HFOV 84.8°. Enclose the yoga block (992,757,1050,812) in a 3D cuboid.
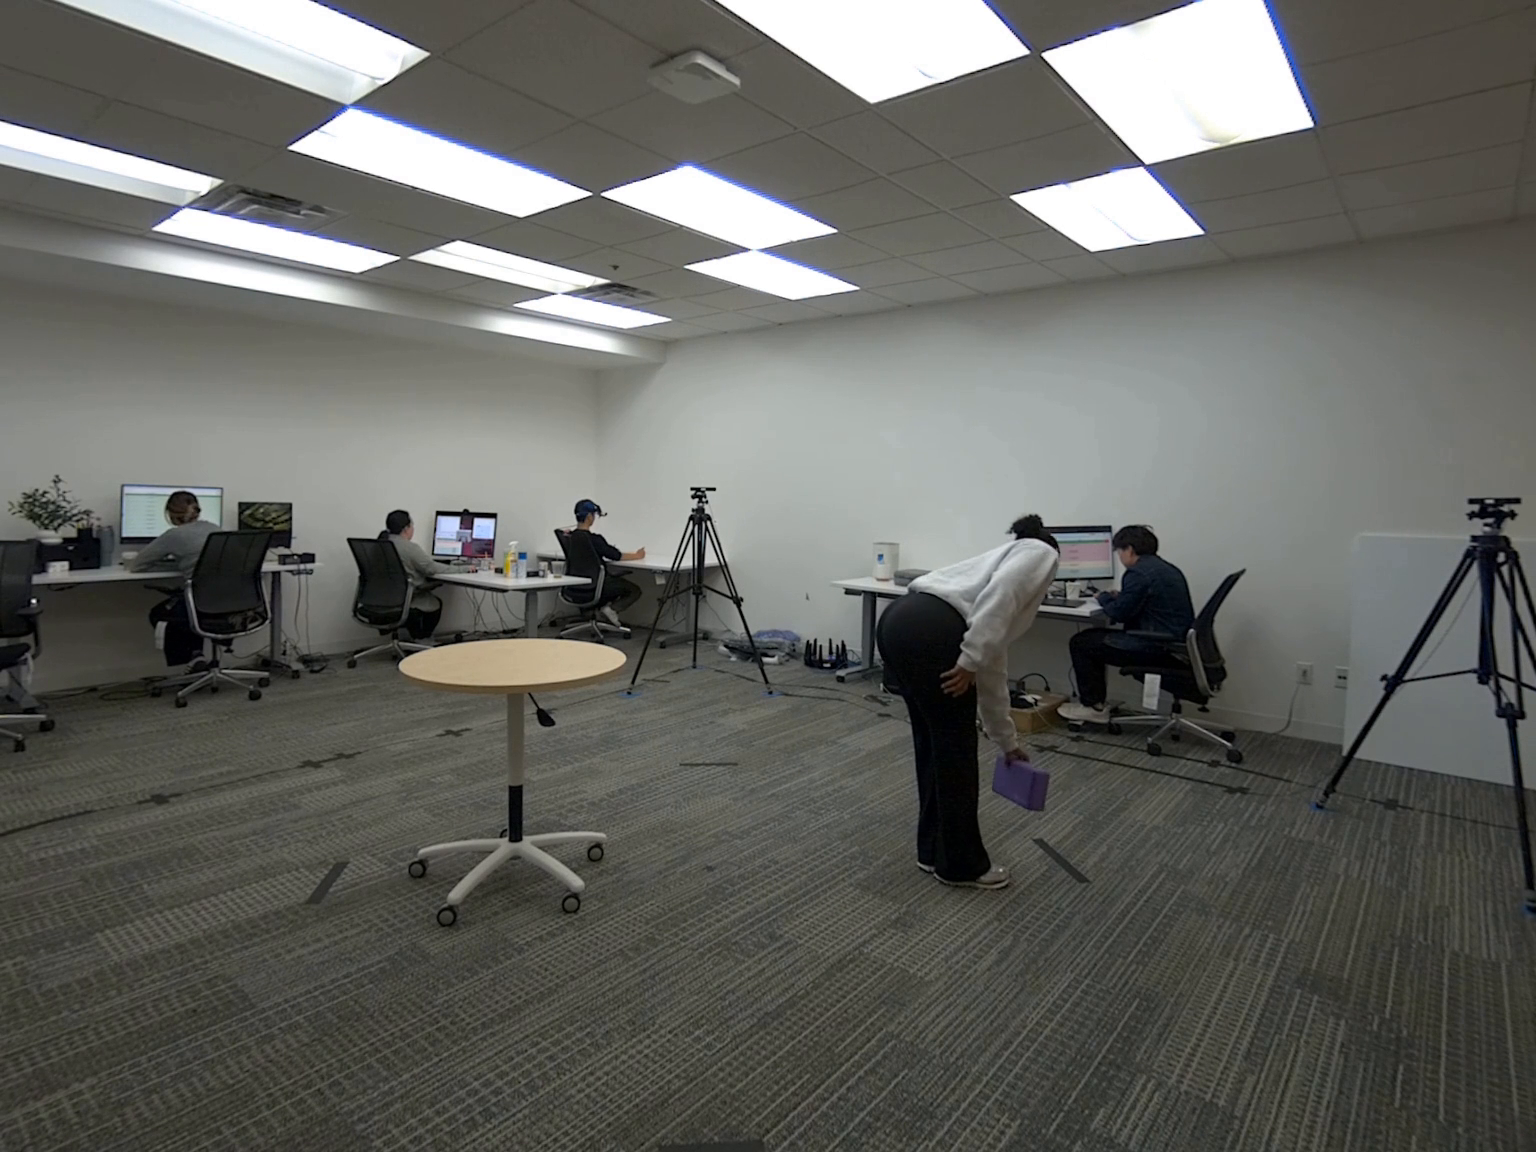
[{"bbox_3d":[0.941,0.779,3.224,0.075,0.149,0.235,11,1,-21],"label":"yoga block"}]
